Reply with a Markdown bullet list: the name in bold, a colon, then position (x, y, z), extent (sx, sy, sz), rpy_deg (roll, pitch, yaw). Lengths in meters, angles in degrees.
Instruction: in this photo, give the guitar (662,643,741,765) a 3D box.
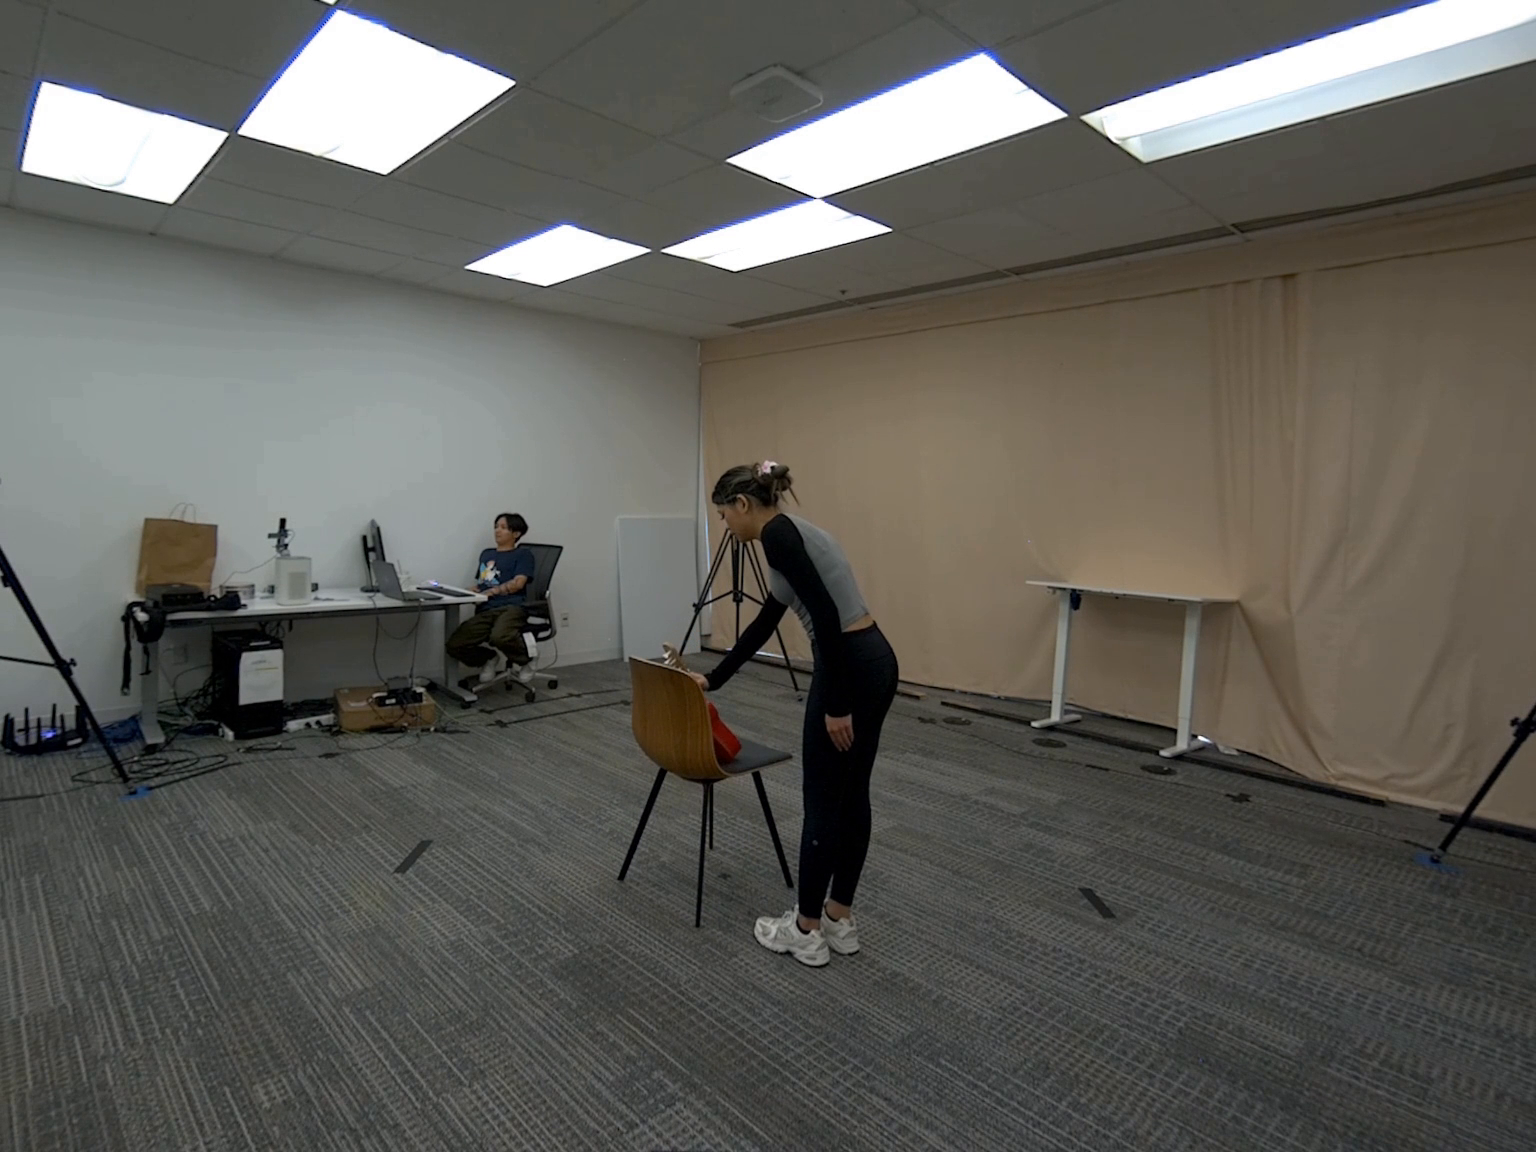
- **guitar**: position (-0.272, 0.428, 2.897), extent (0.070, 0.489, 0.197), rpy_deg (-41, 21, -27)
